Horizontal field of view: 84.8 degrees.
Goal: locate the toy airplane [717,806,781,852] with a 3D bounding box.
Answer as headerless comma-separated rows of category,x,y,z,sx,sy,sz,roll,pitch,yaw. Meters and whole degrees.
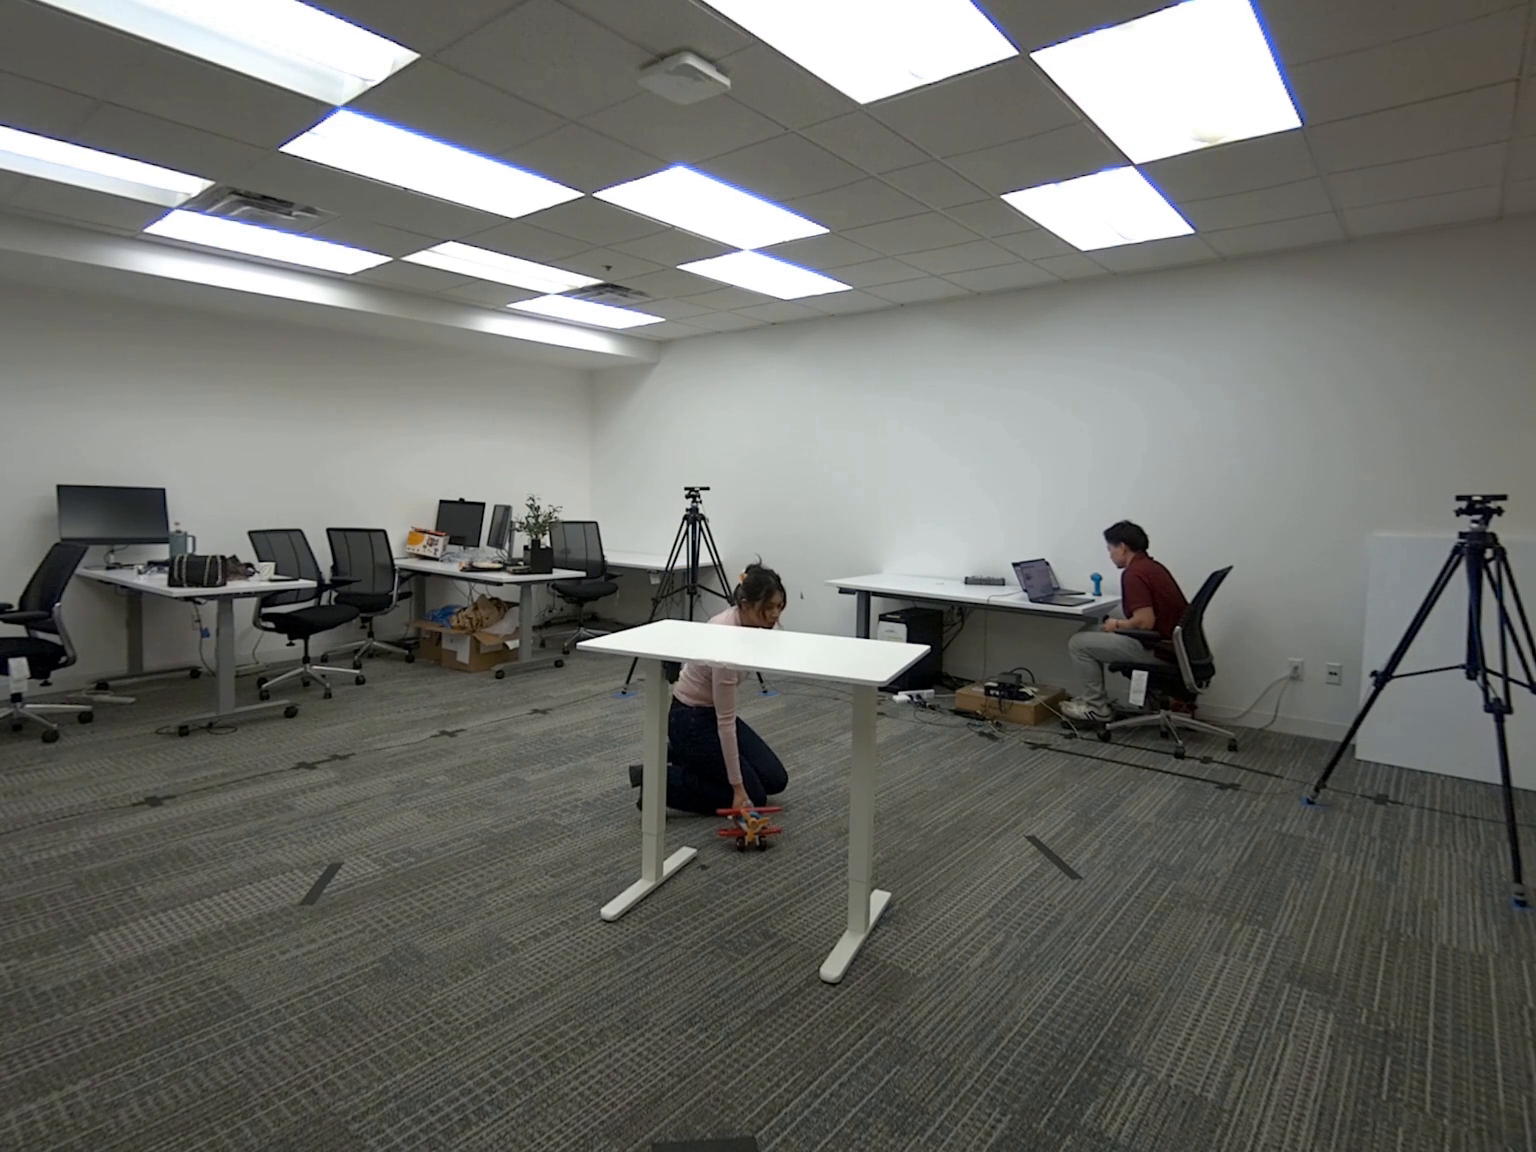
toy airplane,-0.109,0.966,3.350,0.243,0.156,0.268,-1,6,-40
